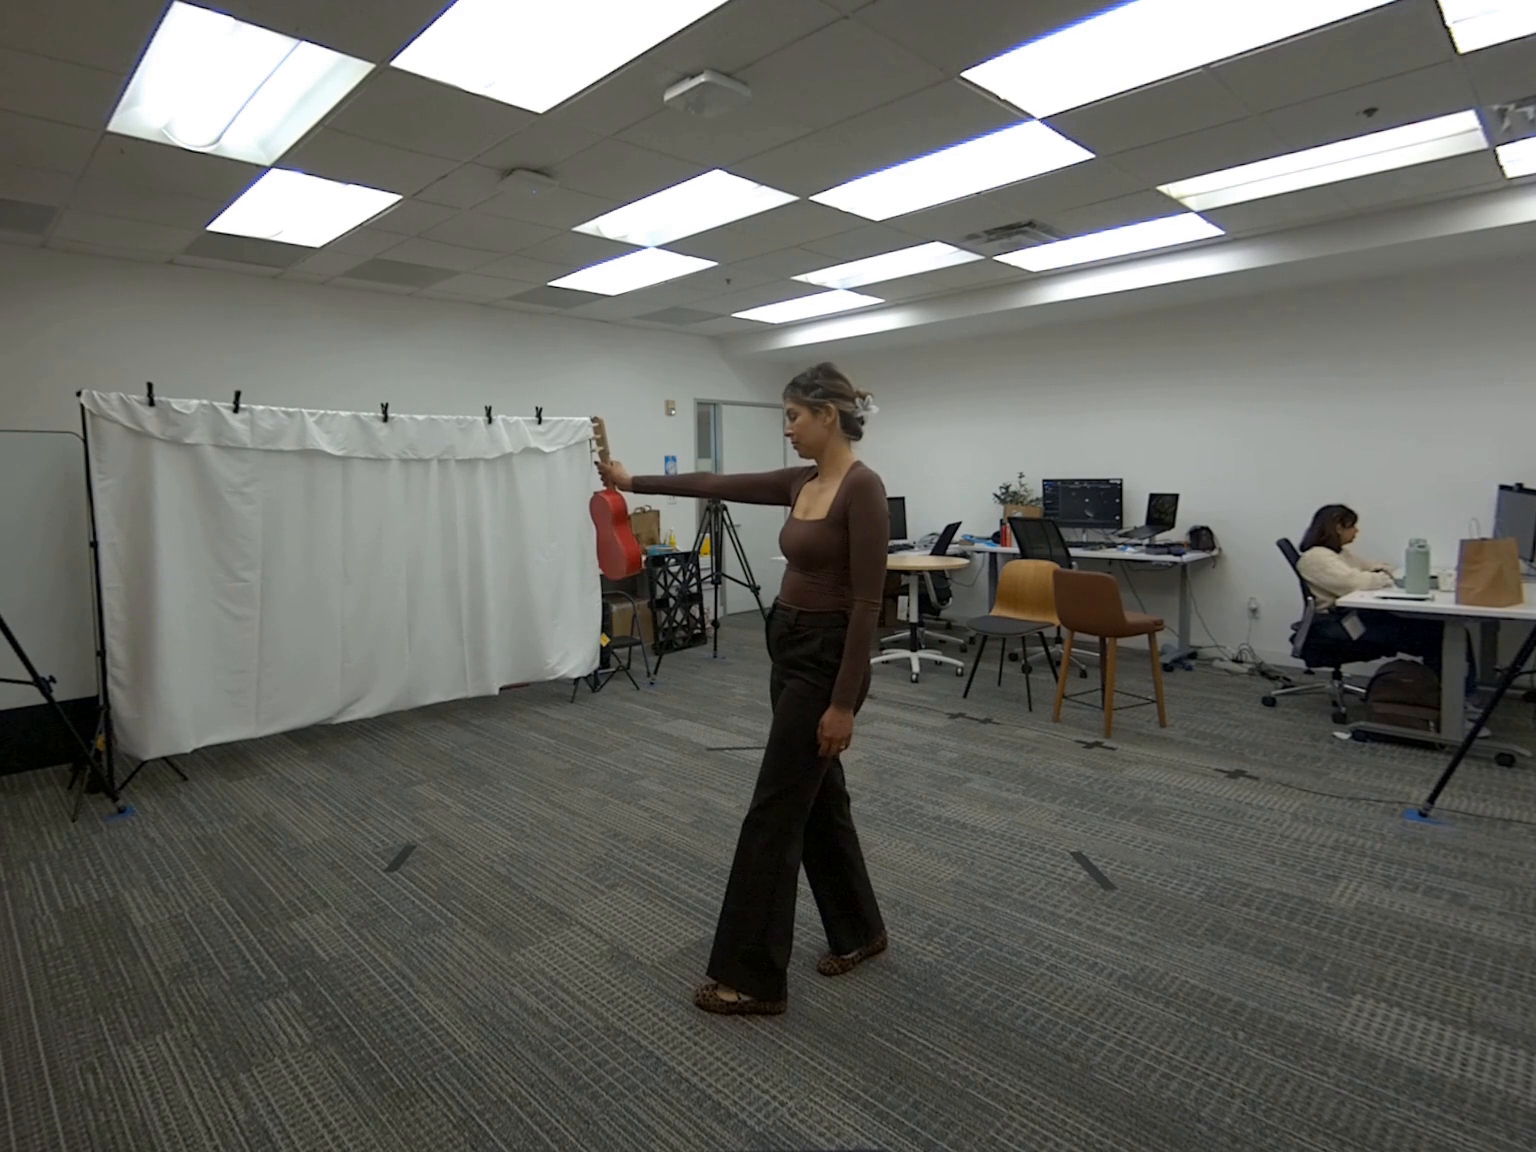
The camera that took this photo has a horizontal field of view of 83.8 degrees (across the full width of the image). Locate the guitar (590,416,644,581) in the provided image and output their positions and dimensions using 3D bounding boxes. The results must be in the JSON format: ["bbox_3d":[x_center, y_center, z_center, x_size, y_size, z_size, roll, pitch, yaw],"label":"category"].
[{"bbox_3d":[-0.504,-0.238,2.647,0.069,0.500,0.196,-14,-4,-34],"label":"guitar"}]
